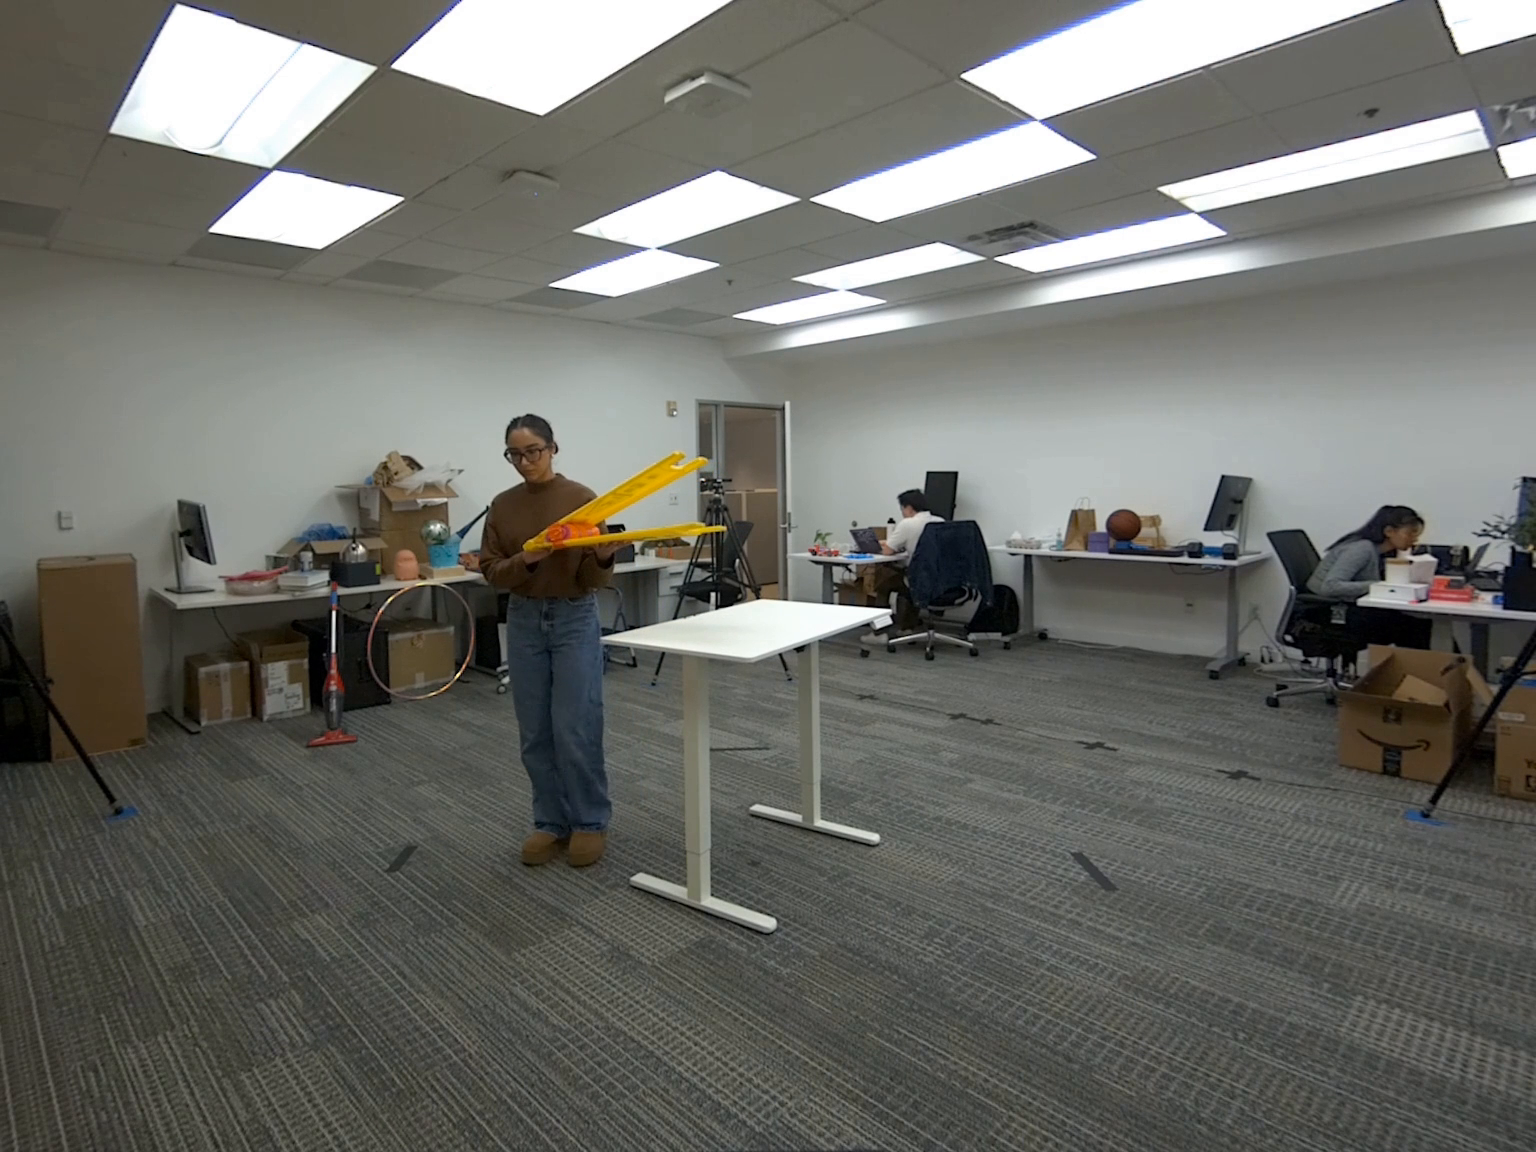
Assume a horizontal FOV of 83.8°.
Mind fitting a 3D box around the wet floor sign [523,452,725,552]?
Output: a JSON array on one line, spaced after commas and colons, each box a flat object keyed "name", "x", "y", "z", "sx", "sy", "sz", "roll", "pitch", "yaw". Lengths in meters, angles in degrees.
[{"name": "wet floor sign", "x": -0.507, "y": -0.182, "z": 2.863, "sx": 0.654, "sy": 0.292, "sz": 0.277, "roll": -15, "pitch": -5, "yaw": 17}]
